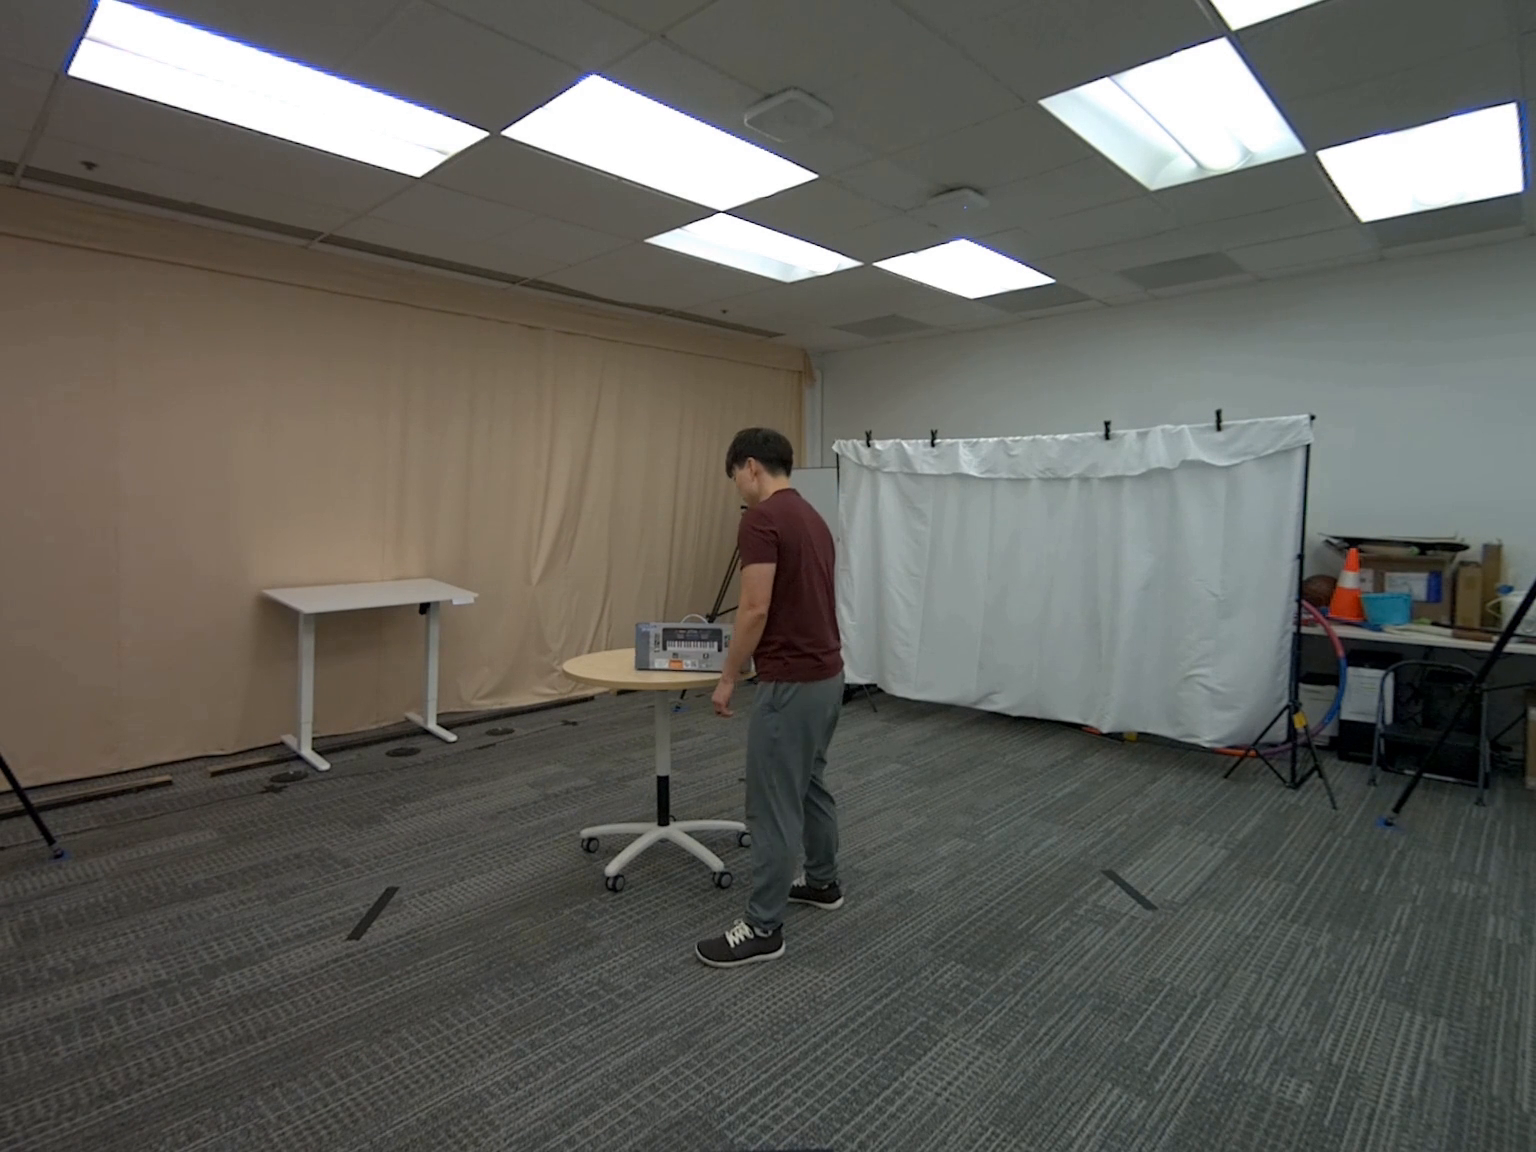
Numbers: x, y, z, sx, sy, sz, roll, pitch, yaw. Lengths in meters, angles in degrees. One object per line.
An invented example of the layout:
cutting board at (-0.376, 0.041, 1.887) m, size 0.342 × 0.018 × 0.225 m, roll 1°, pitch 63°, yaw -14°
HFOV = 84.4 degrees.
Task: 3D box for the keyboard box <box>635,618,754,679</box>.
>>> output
keyboard box at (-0.278, 0.265, 3.118) m, size 0.442 × 0.176 × 0.058 m, roll 0°, pitch -1°, yaw 12°
